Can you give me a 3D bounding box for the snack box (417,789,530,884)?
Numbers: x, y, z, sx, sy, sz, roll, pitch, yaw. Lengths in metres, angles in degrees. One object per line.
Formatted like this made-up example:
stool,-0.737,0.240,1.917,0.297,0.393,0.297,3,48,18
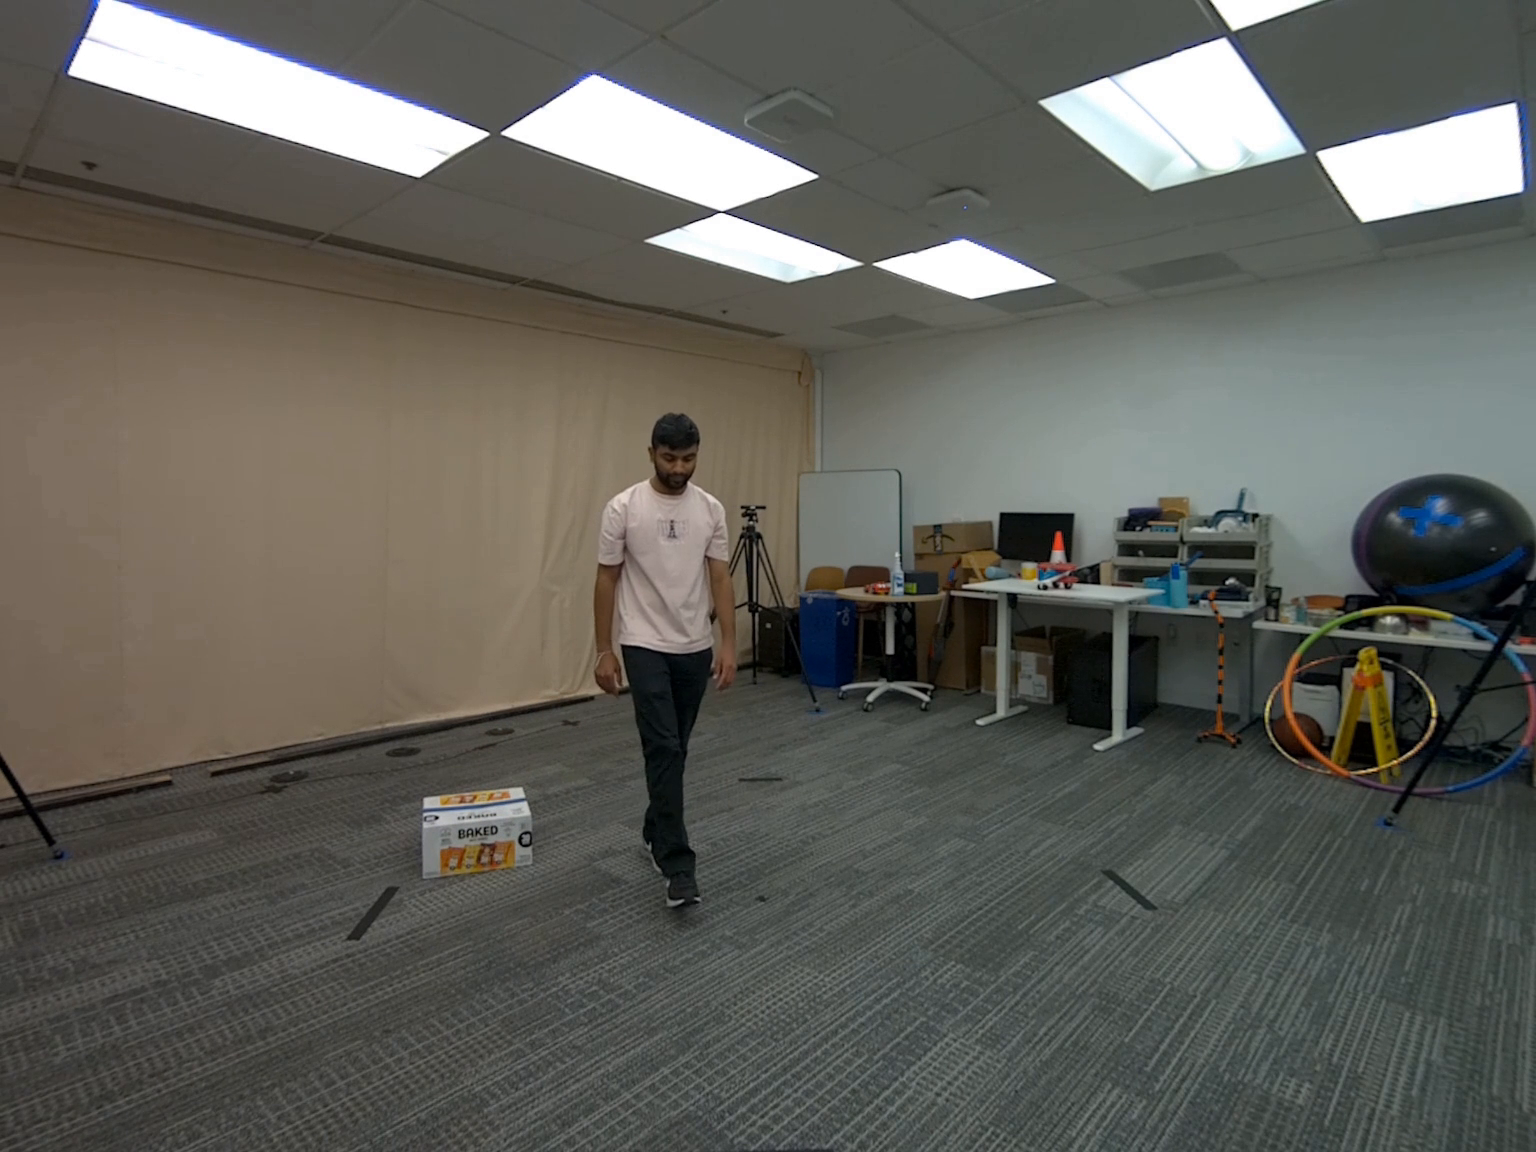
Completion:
snack box,-1.178,1.022,3.368,0.397,0.205,0.348,-1,4,-20
